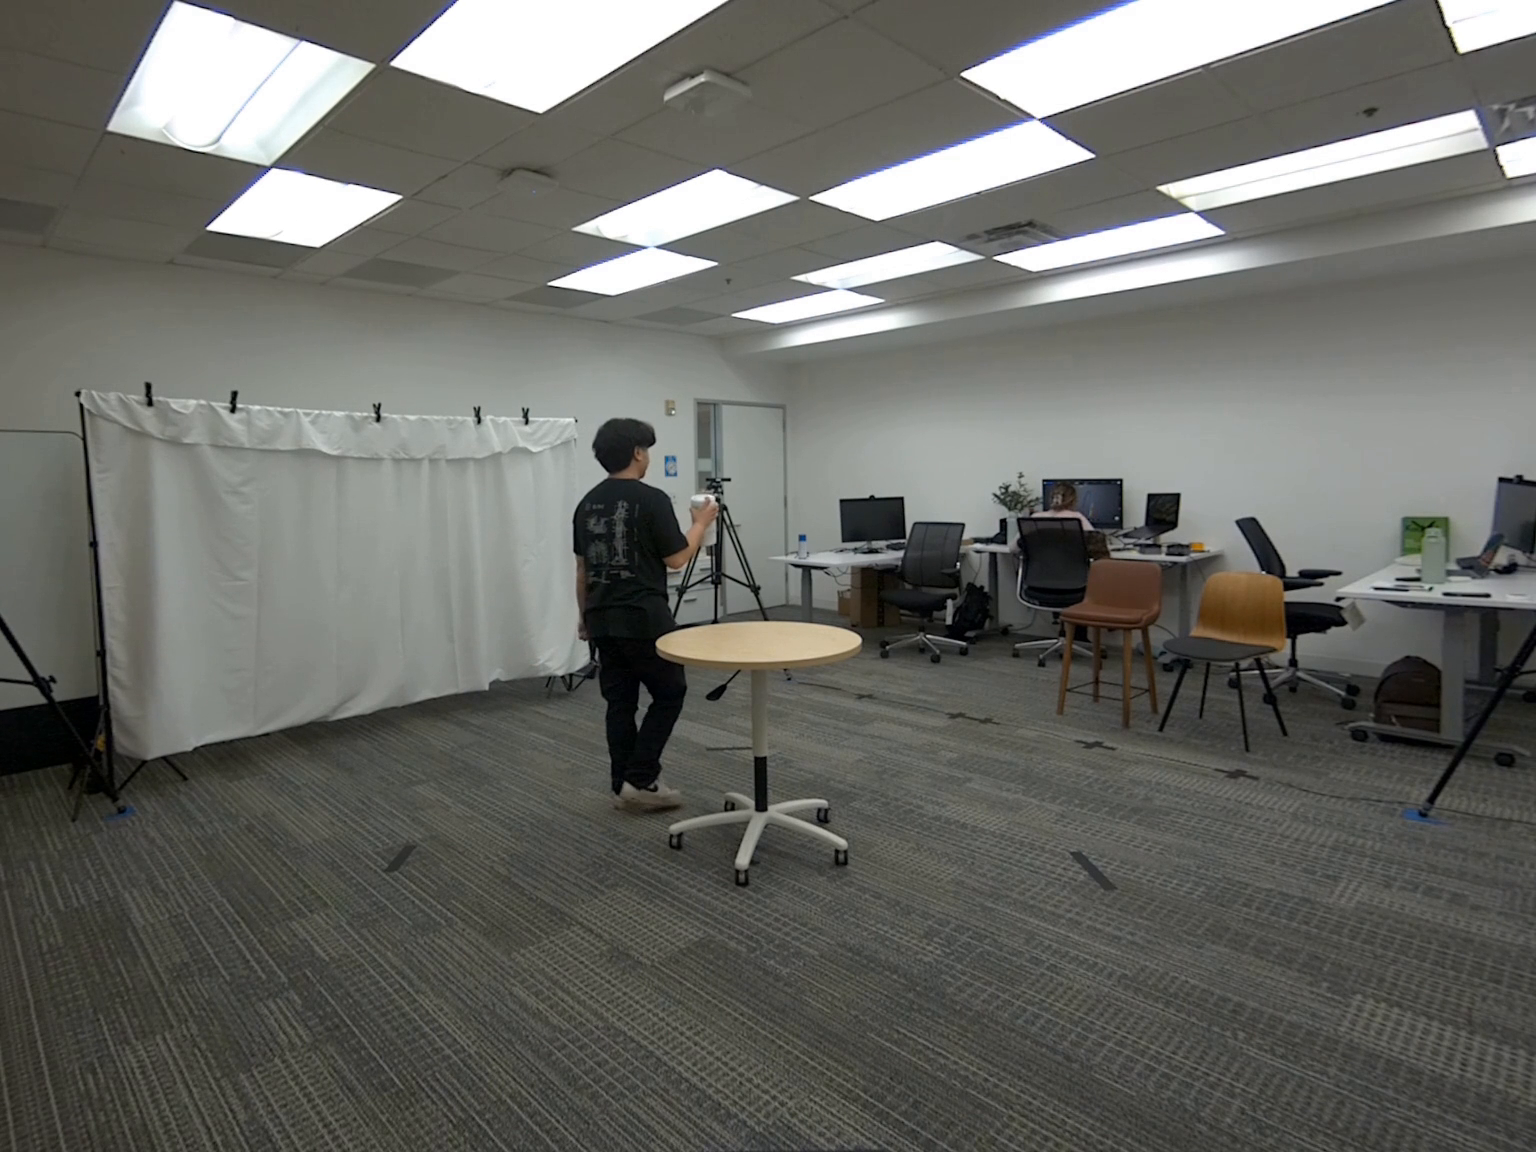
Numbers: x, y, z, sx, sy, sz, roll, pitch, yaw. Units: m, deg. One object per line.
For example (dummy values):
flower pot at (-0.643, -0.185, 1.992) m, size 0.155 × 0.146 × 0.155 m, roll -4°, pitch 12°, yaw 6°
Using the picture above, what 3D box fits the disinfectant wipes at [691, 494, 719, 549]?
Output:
disinfectant wipes at (-0.280, -0.246, 3.805) m, size 0.118 × 0.214 × 0.120 m, roll 0°, pitch 19°, yaw -2°
